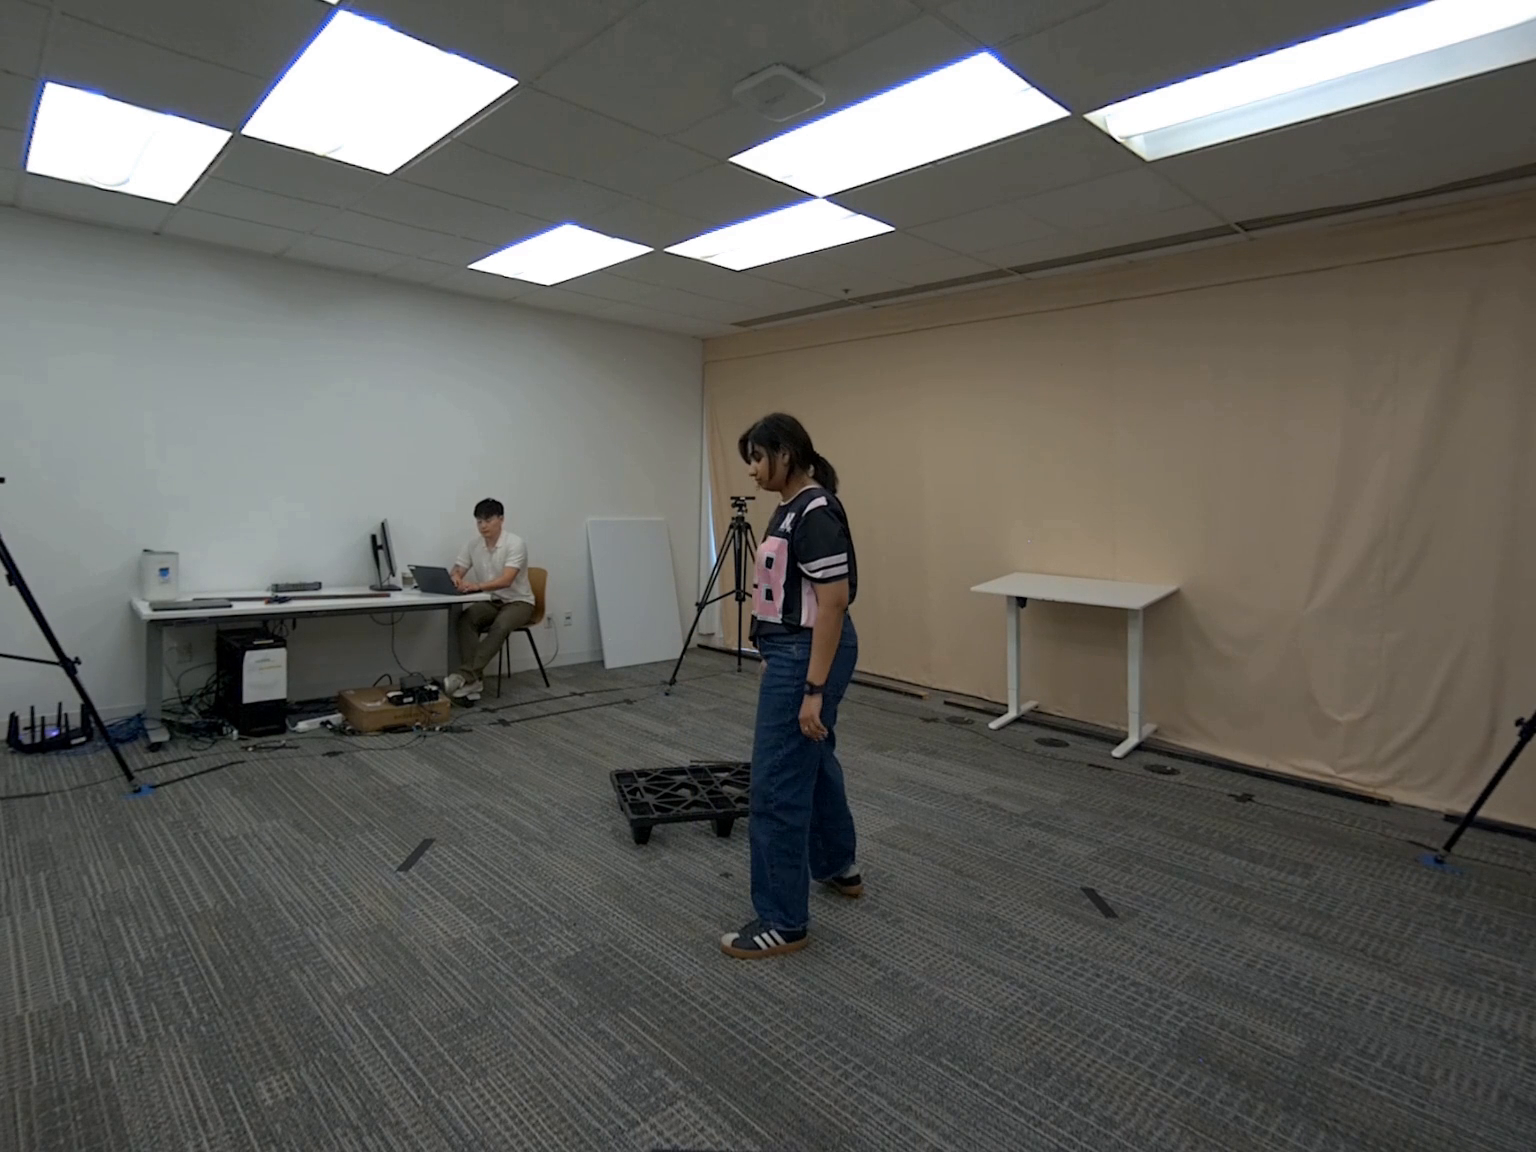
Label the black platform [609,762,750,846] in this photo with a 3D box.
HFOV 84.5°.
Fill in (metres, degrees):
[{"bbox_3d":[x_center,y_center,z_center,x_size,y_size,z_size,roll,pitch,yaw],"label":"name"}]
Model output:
[{"bbox_3d":[-0.257,0.984,3.673,0.795,0.143,0.615,0,6,-17],"label":"black platform"}]
